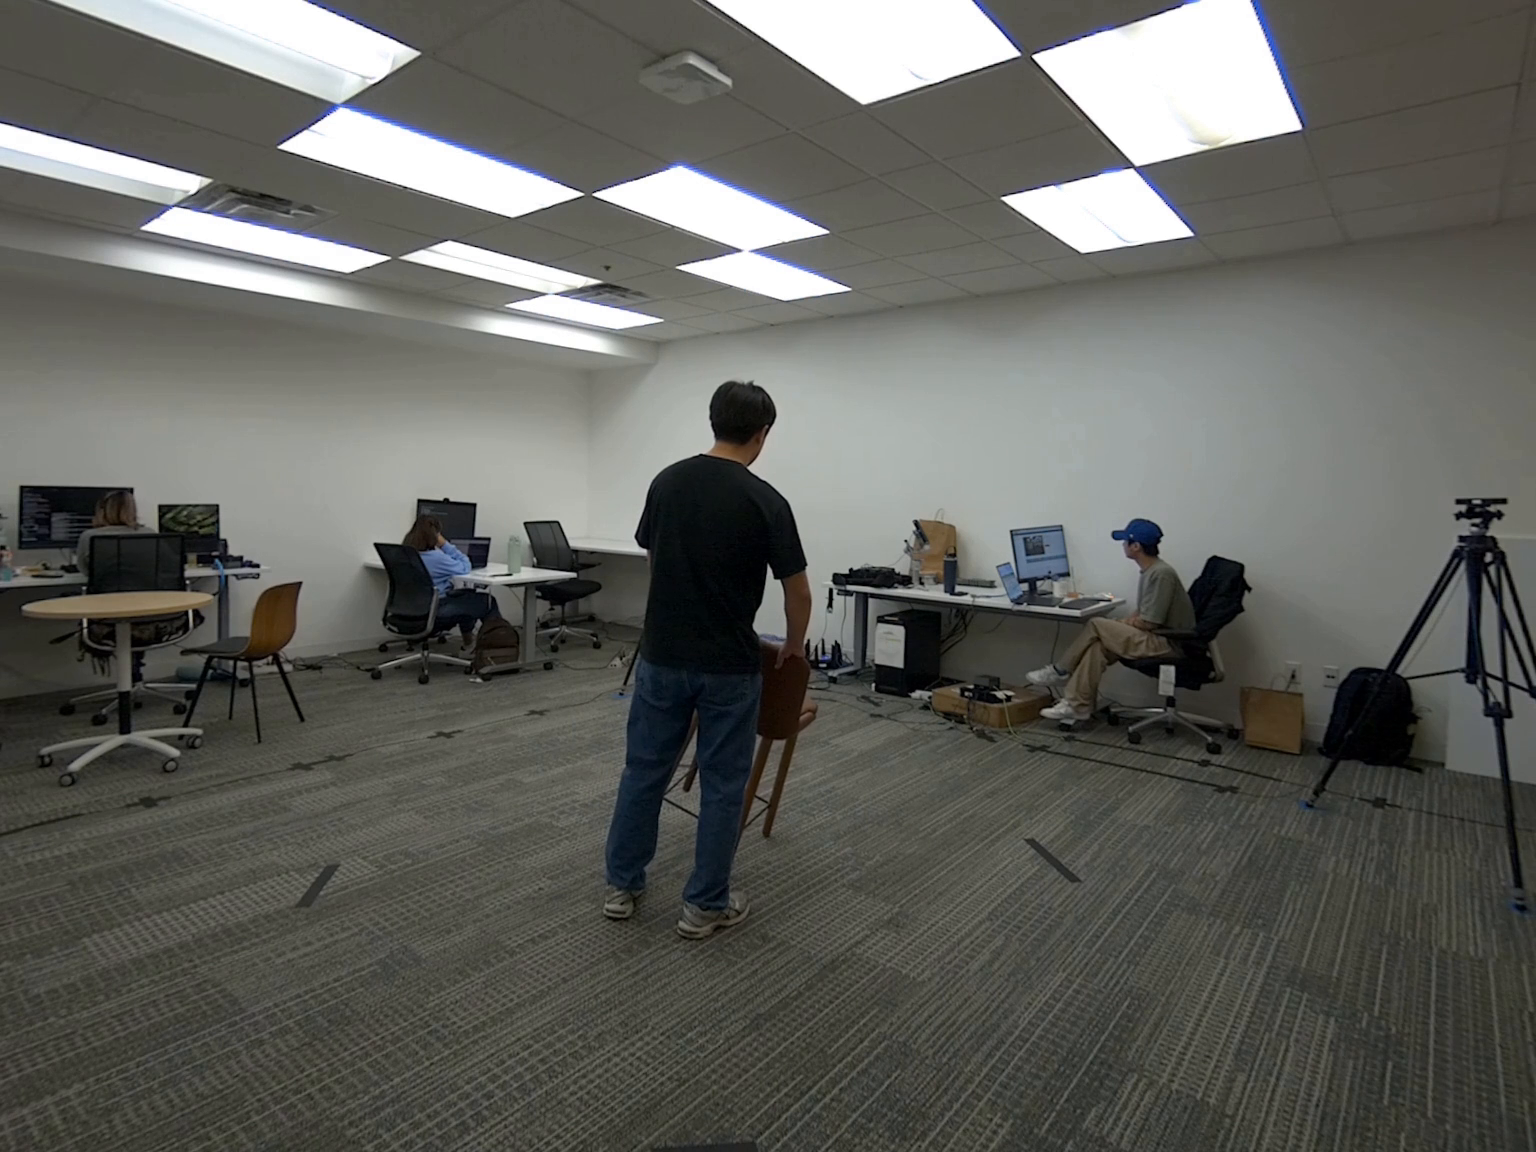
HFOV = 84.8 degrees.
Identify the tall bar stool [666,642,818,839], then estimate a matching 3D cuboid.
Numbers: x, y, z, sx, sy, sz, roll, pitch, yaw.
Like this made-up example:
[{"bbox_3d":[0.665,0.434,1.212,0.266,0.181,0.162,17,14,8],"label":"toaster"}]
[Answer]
[{"bbox_3d":[-0.114,0.588,3.210,0.468,0.883,0.459,22,13,19],"label":"tall bar stool"}]
